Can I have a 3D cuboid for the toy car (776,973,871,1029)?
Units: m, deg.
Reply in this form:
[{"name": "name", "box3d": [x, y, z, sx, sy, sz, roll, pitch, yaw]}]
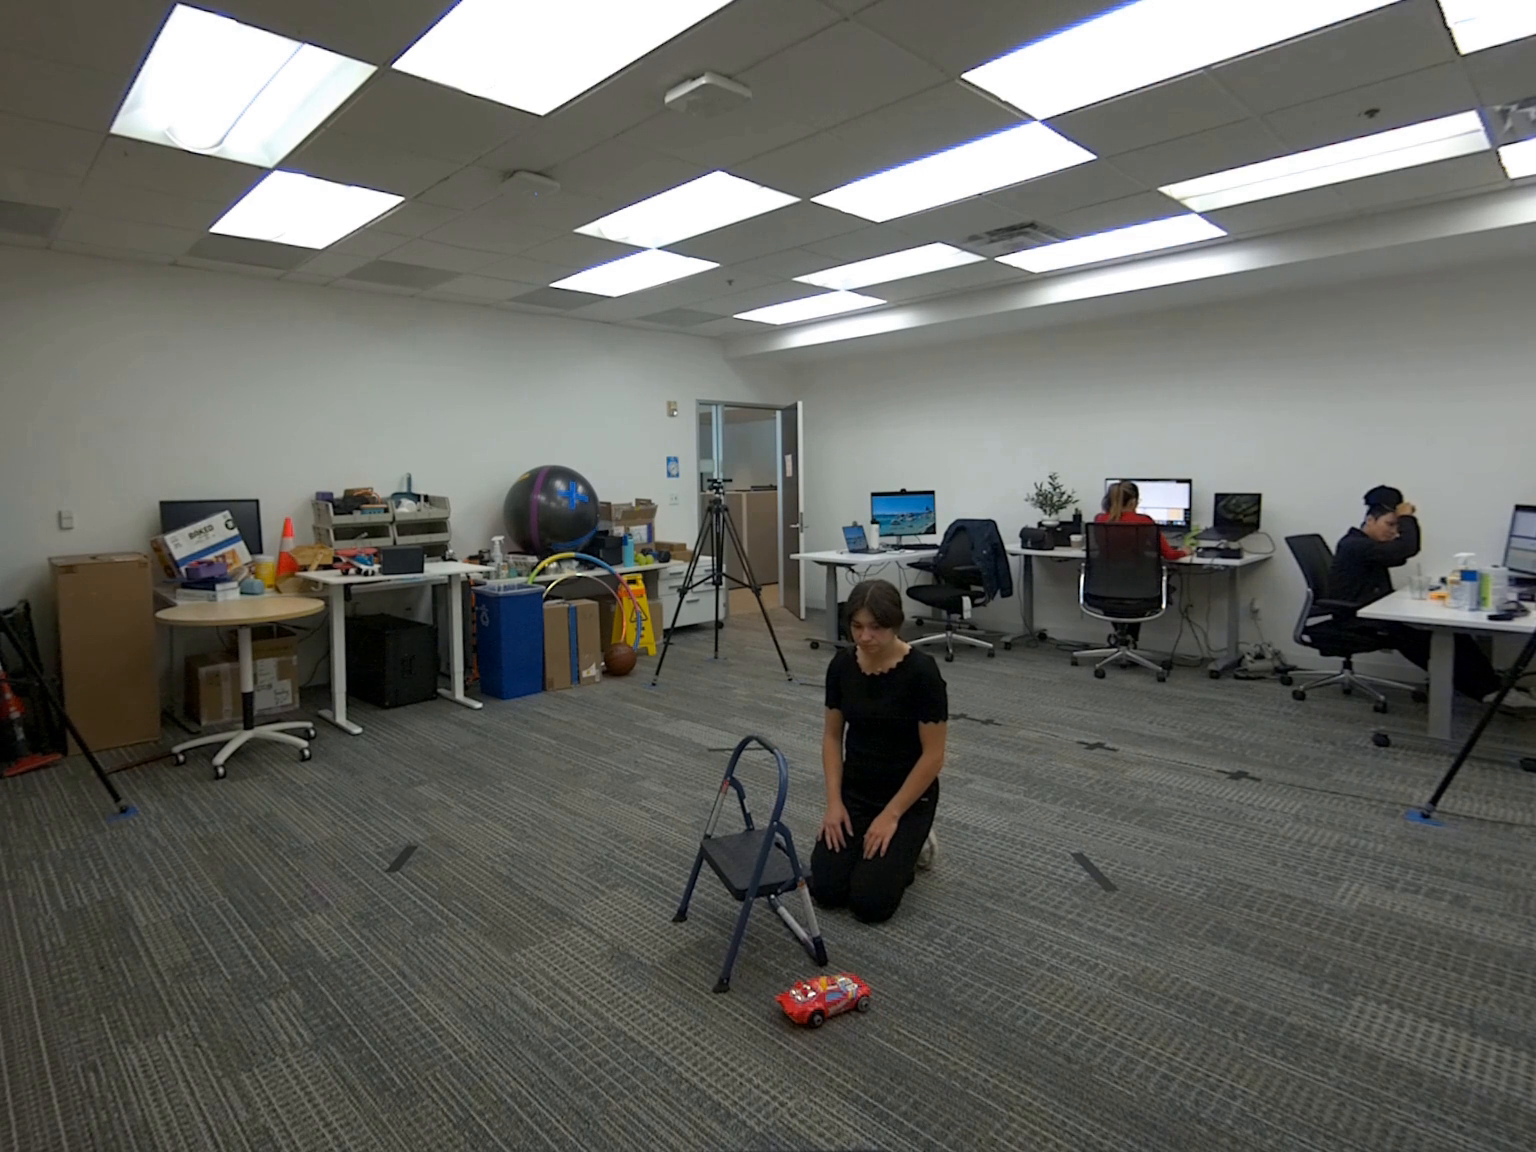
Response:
[{"name": "toy car", "box3d": [0.152, 1.119, 2.232, 0.248, 0.083, 0.134, 8, 2, -26]}]
